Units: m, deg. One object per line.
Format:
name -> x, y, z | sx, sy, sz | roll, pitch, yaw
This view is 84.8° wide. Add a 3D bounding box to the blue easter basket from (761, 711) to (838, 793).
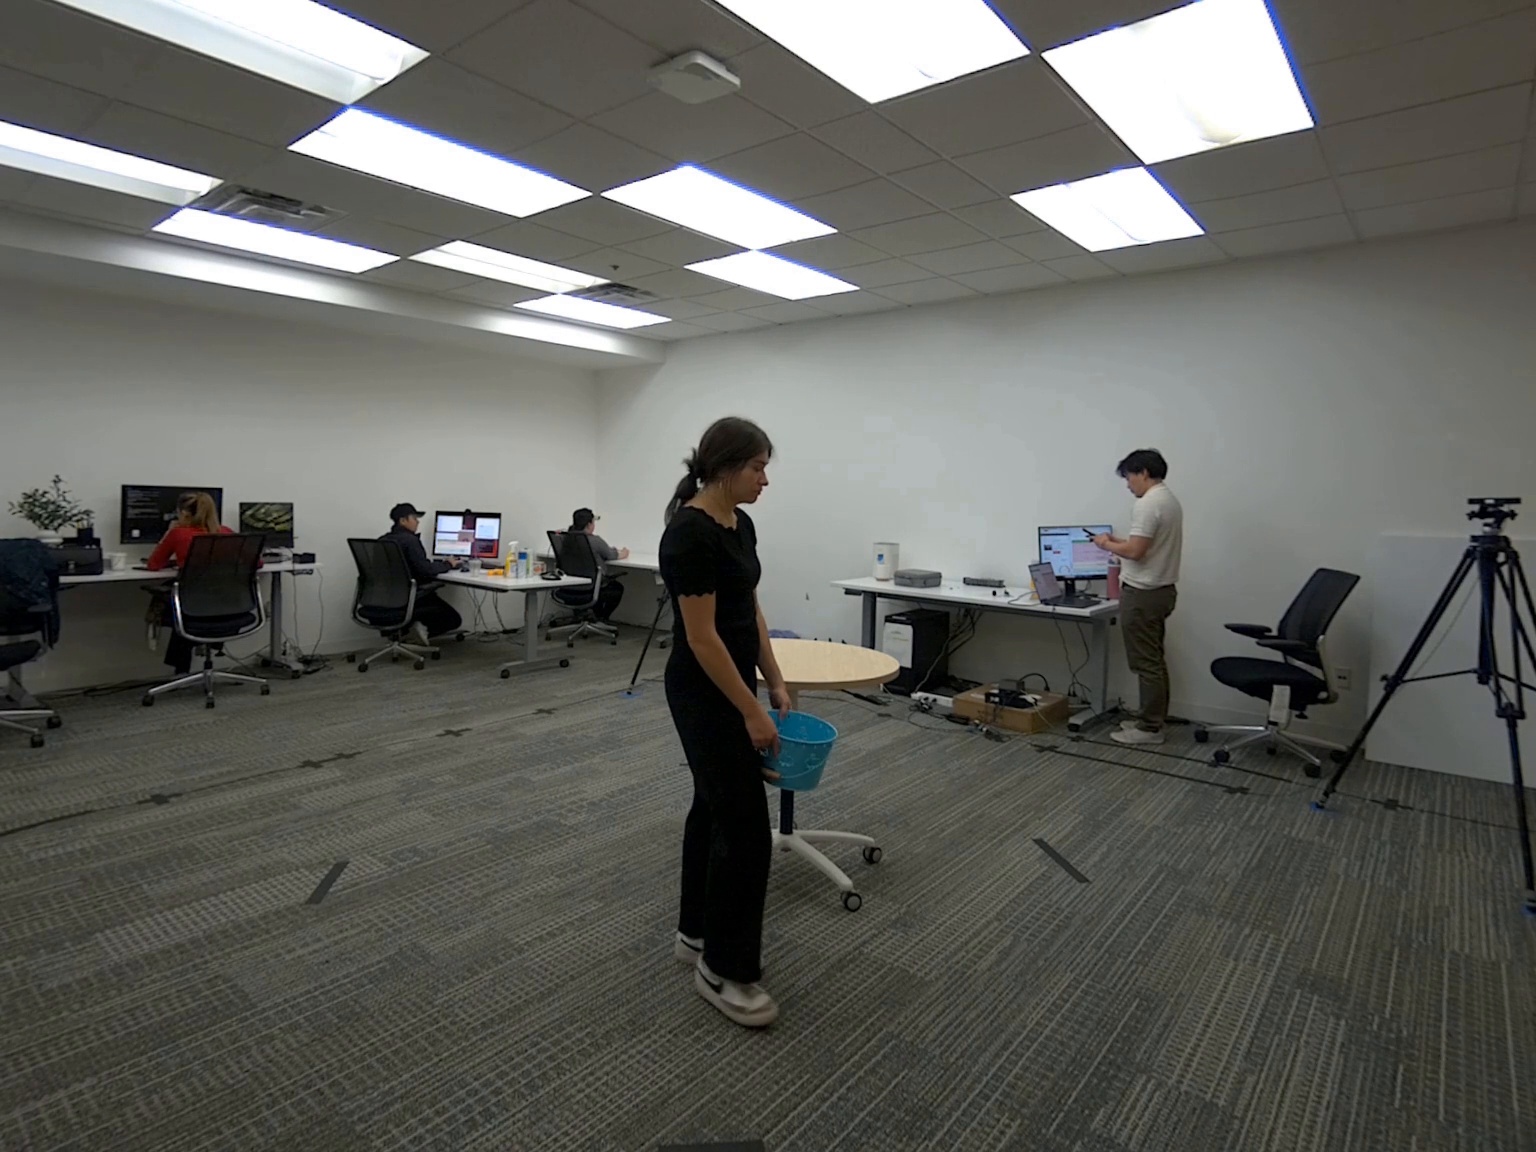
blue easter basket -> 0.058, 0.485, 2.368 | 0.243, 0.155, 0.246 | 9, 9, -3
